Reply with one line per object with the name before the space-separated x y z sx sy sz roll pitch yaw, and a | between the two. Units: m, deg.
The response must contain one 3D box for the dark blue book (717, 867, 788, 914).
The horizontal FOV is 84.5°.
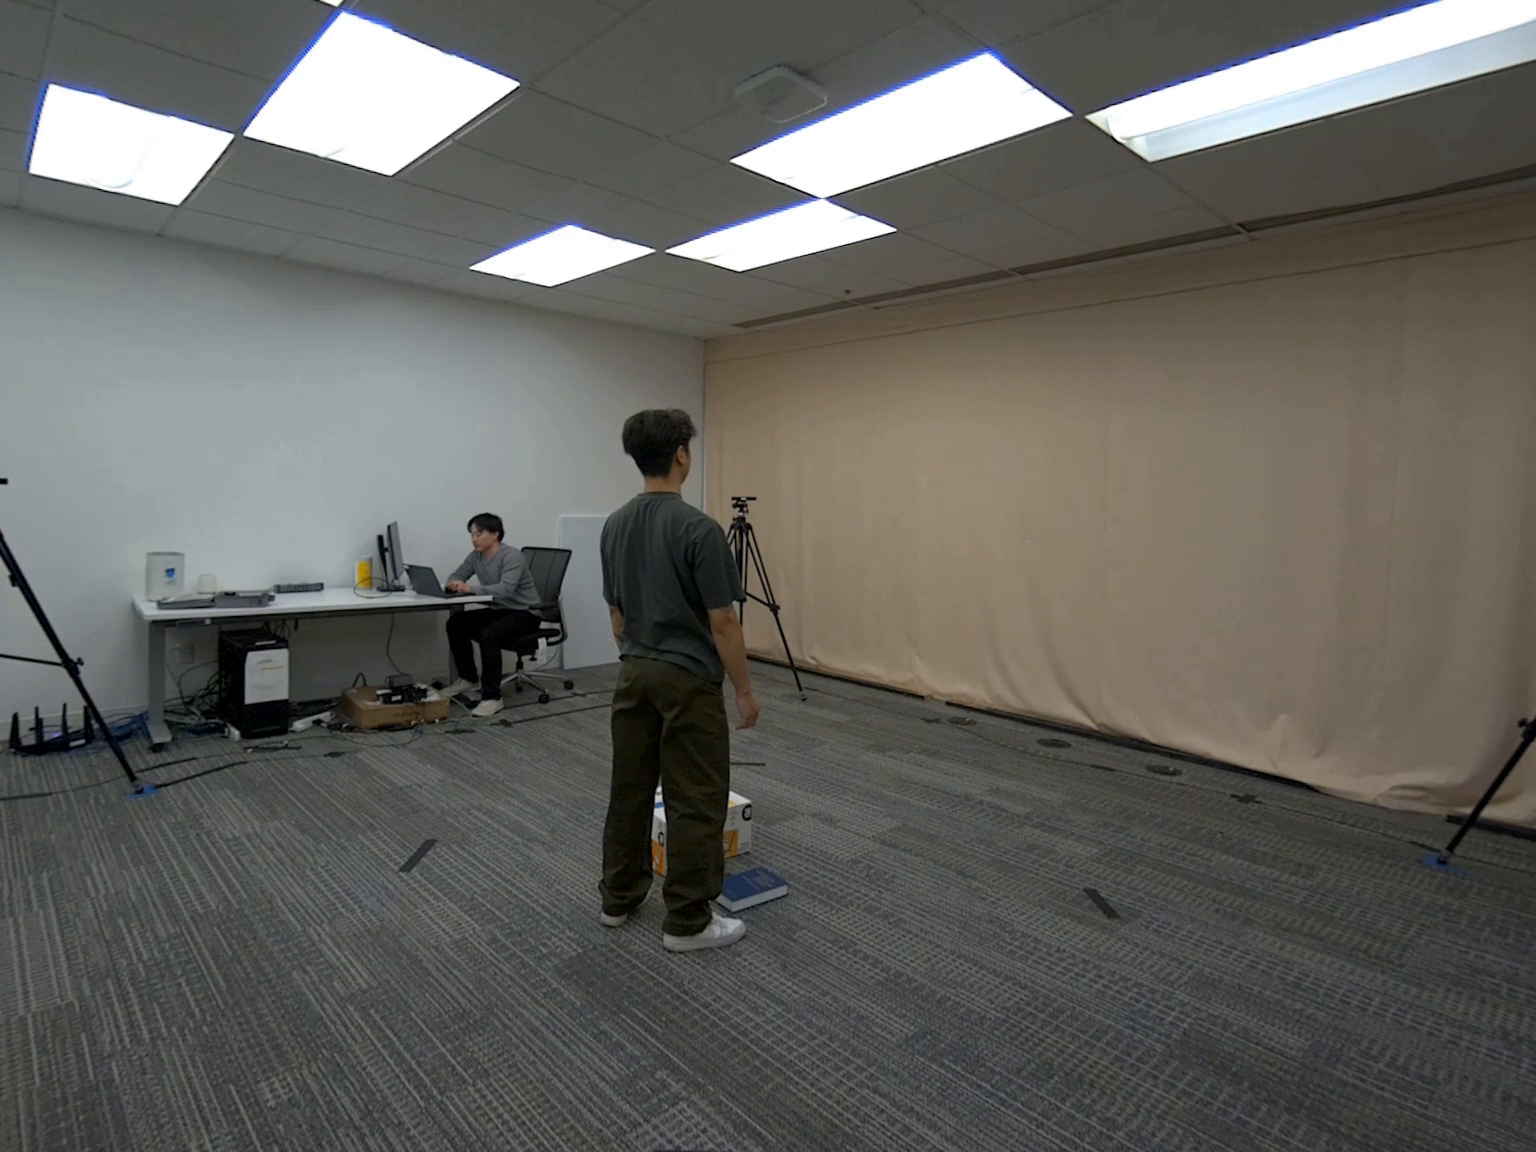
dark blue book | -0.075 1.103 2.949 0.240 0.045 0.167 -3 7 -37
